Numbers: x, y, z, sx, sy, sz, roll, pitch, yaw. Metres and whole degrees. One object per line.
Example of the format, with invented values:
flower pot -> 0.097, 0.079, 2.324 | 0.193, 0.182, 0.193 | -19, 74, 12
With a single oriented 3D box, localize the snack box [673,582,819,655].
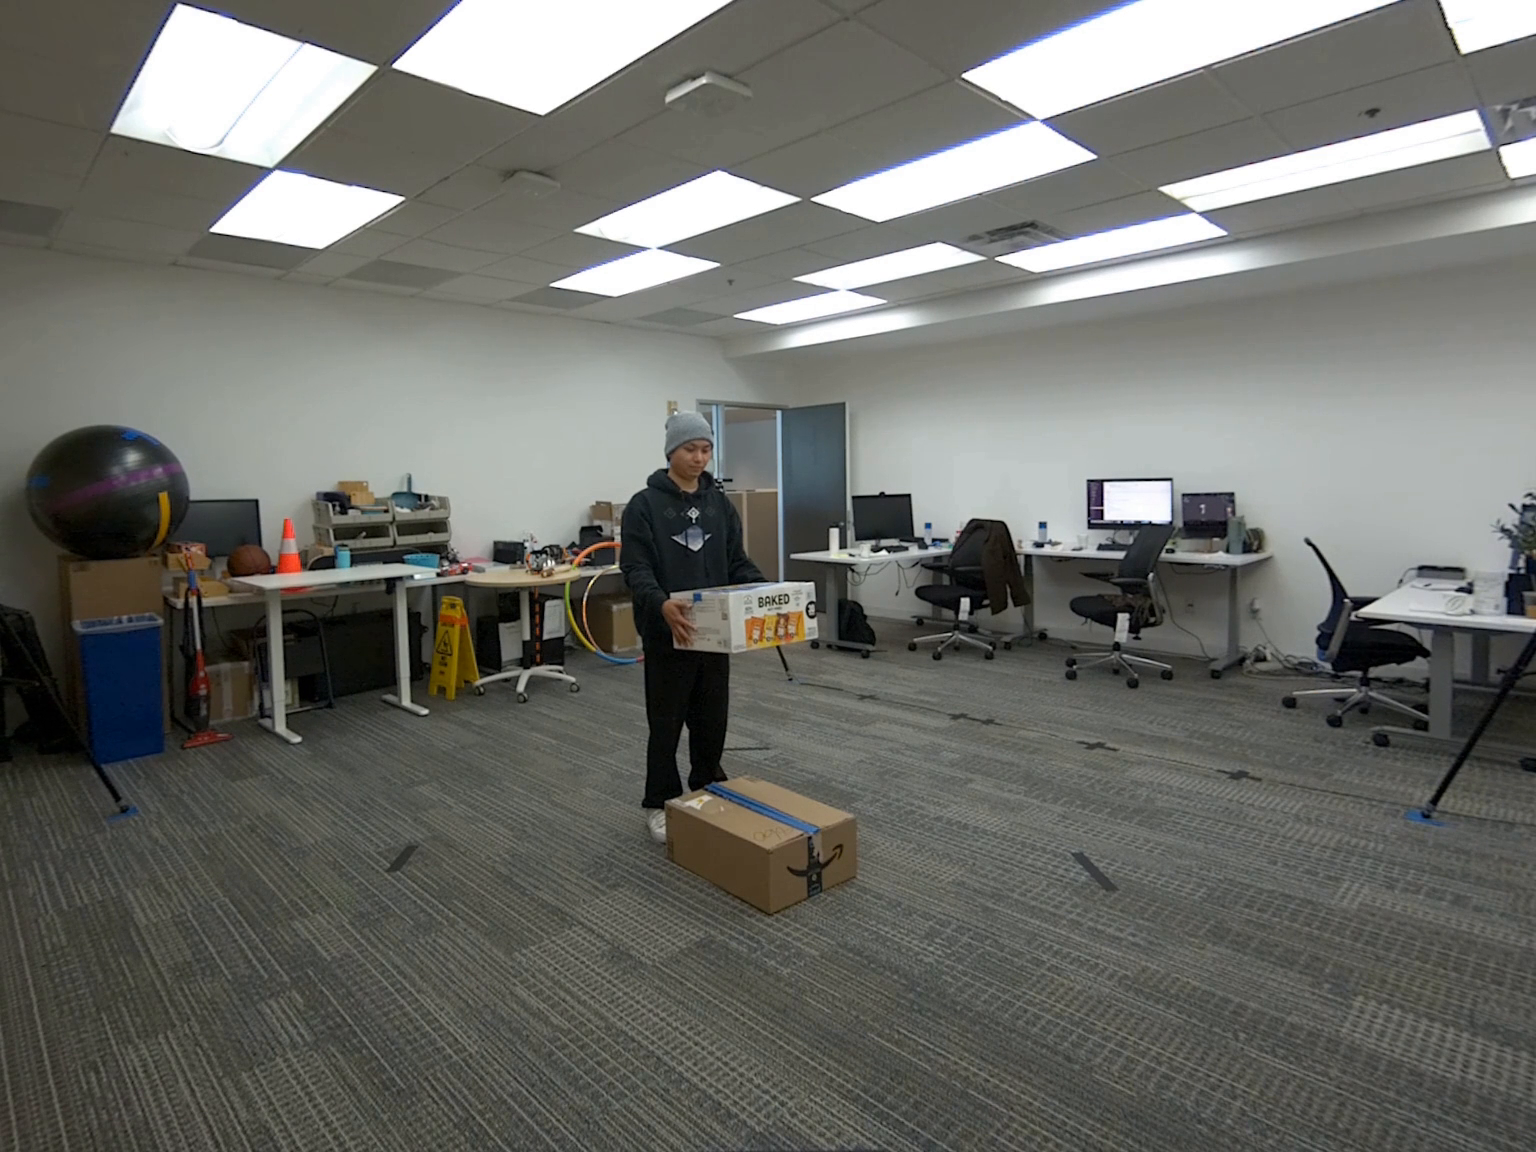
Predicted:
snack box -> -0.085, 0.143, 3.078 | 0.394, 0.206, 0.349 | -6, 2, -40
